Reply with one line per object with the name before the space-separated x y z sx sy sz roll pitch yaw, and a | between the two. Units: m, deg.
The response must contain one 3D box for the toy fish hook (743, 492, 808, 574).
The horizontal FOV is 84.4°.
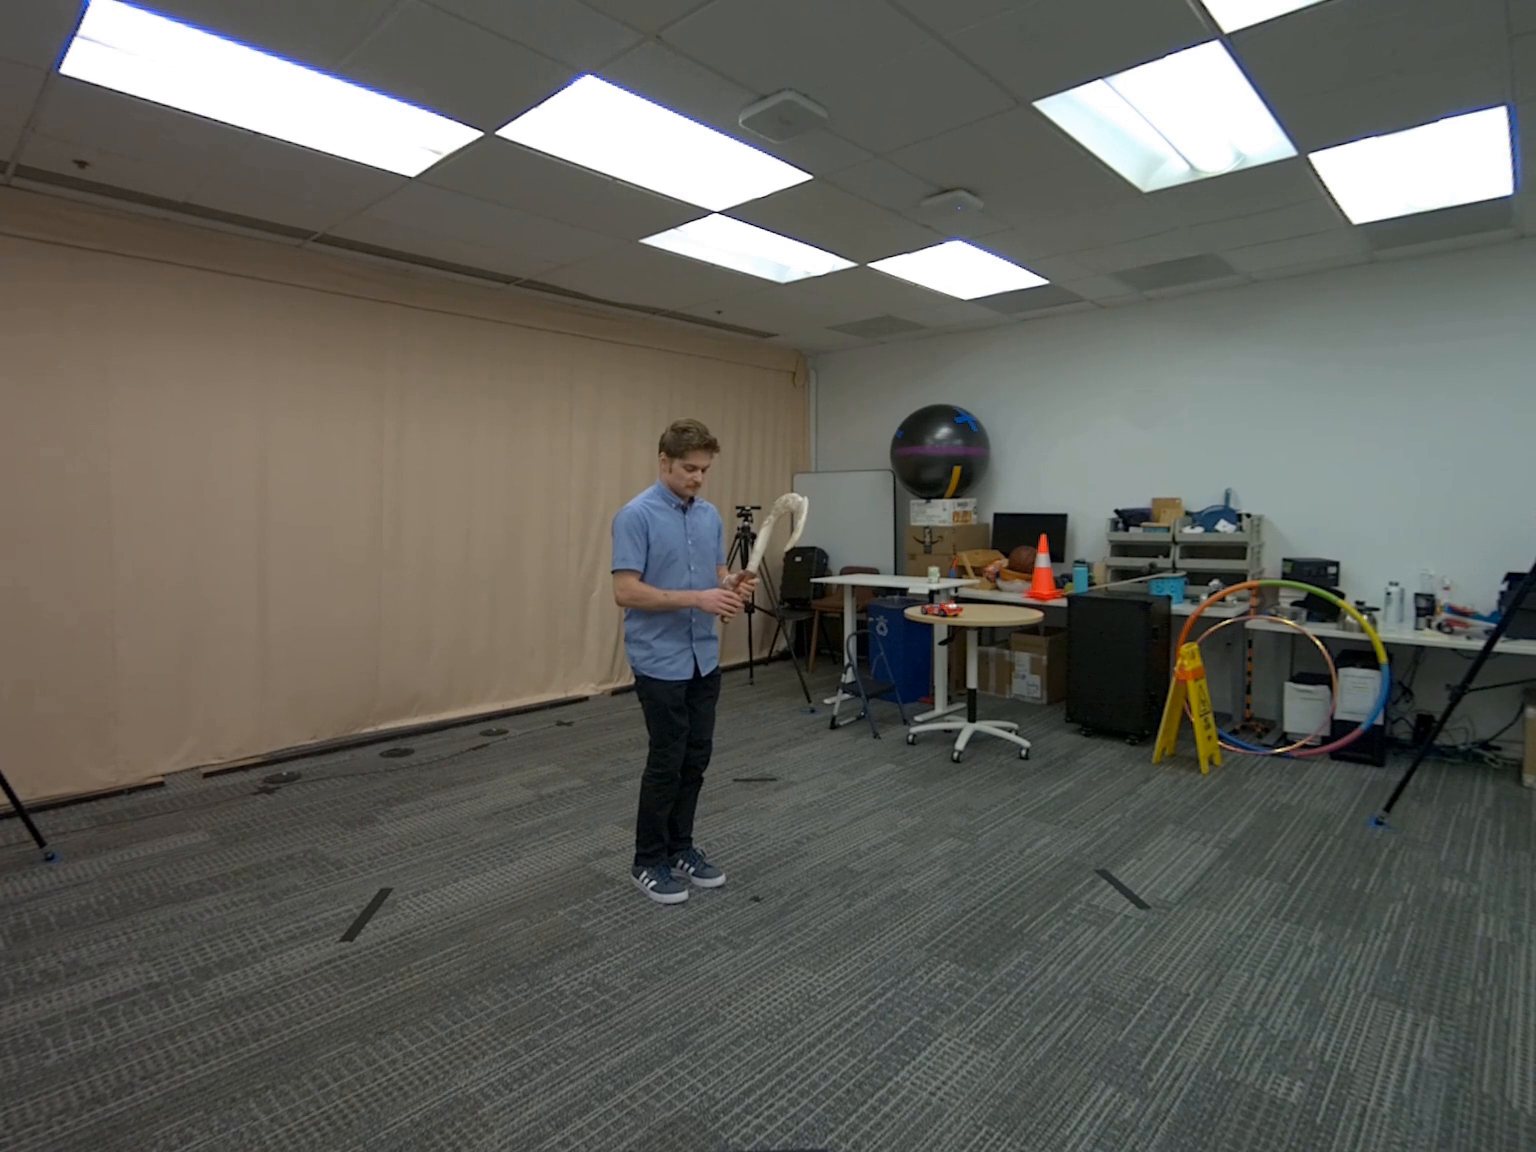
toy fish hook | -0.003 -0.052 2.855 0.047 0.506 0.232 25 3 -30
